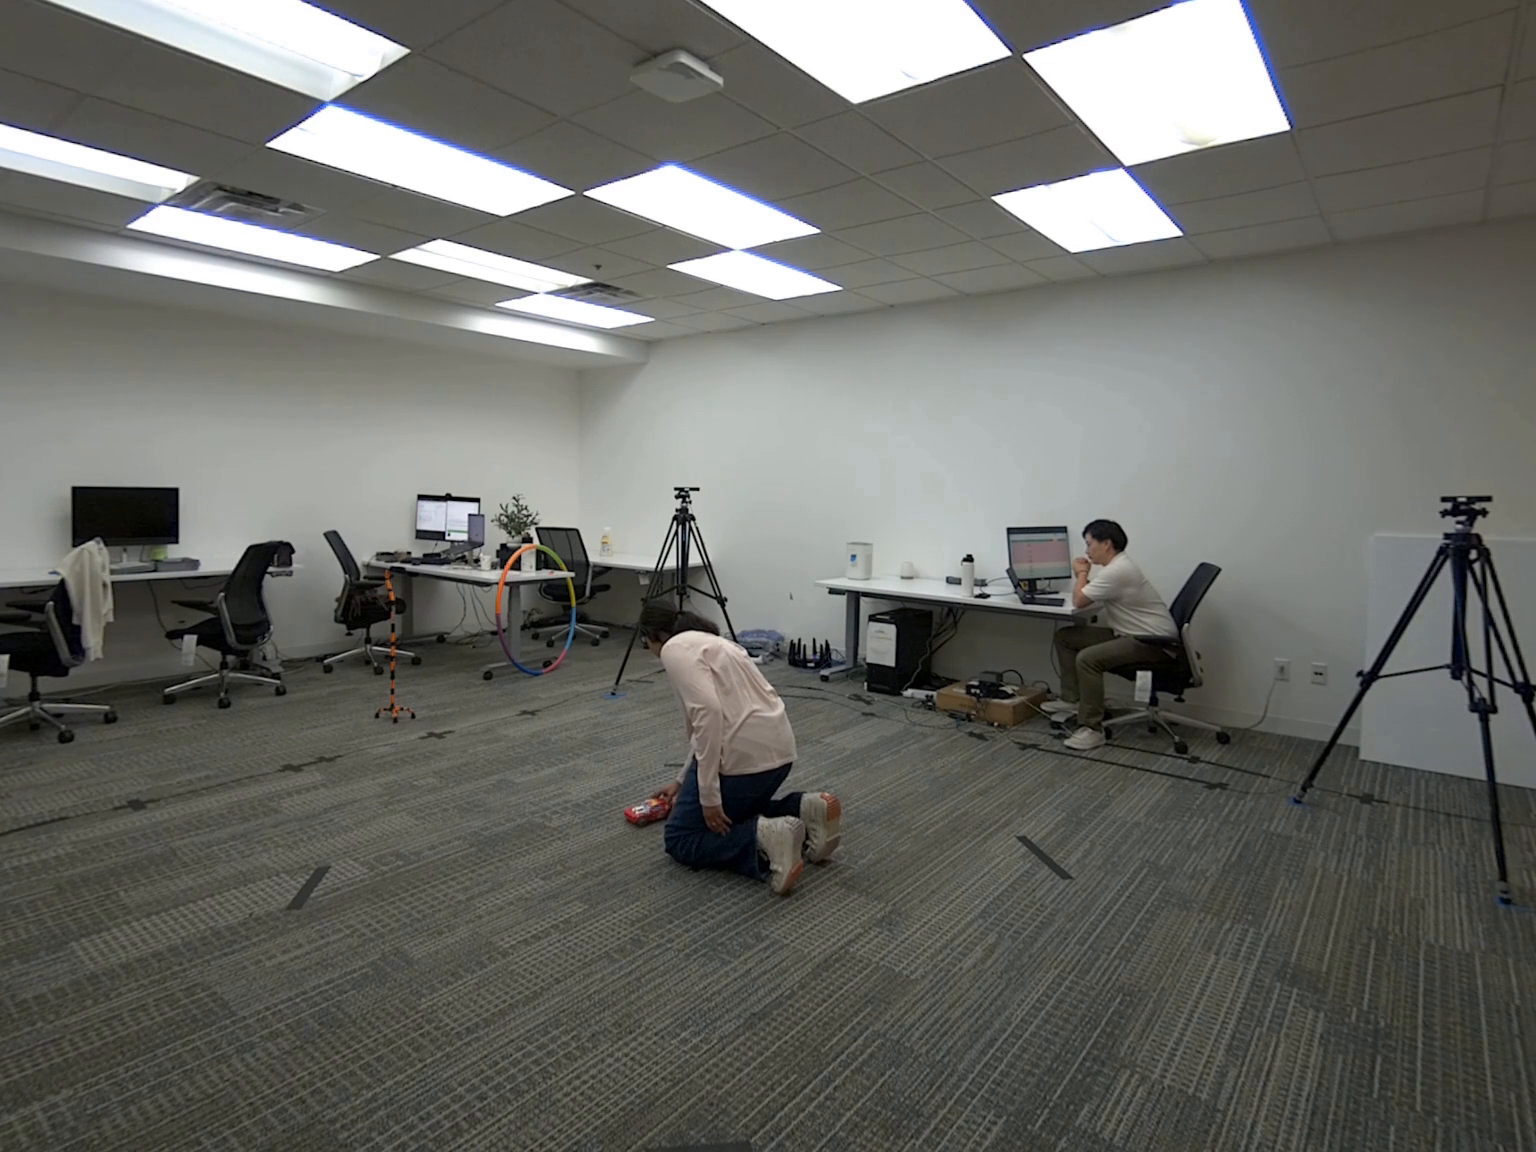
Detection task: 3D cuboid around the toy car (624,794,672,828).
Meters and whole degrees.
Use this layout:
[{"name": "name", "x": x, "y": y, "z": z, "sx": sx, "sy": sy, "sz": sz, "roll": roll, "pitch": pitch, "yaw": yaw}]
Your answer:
[{"name": "toy car", "x": -0.486, "y": 0.985, "z": 3.578, "sx": 0.249, "sy": 0.082, "sz": 0.135, "roll": -15, "pitch": 14, "yaw": -34}]
